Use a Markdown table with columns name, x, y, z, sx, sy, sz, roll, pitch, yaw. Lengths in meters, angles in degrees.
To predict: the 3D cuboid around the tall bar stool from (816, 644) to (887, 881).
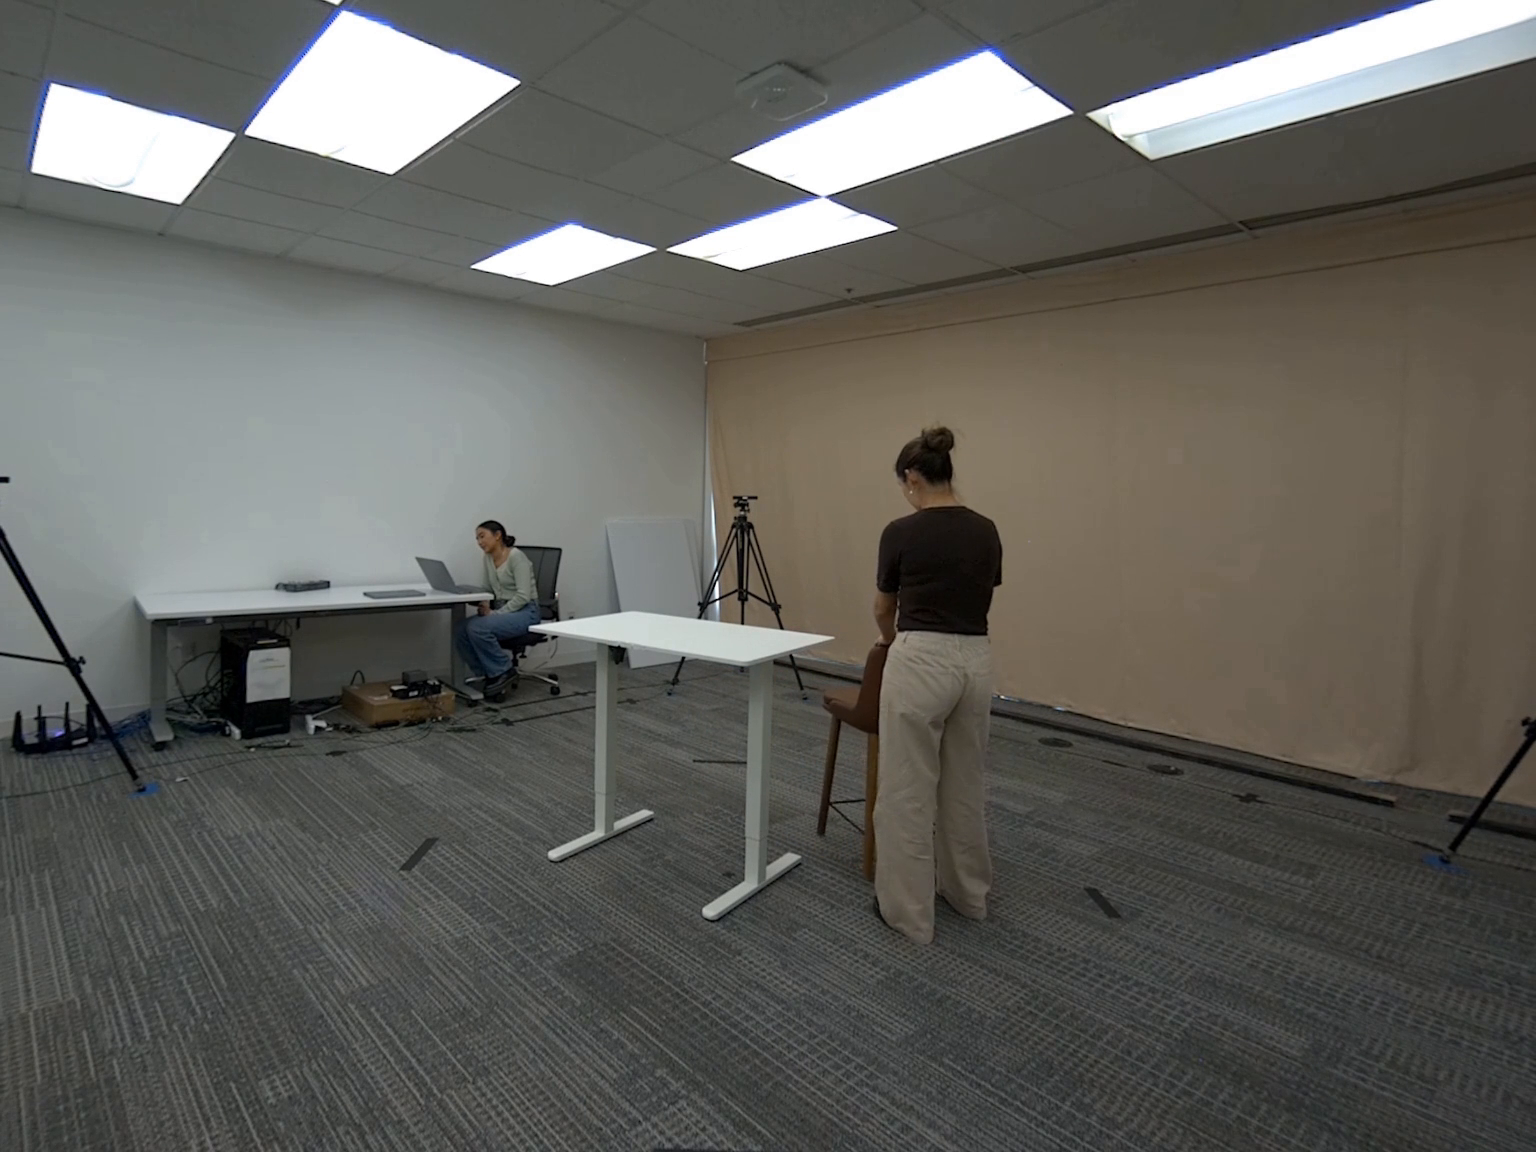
| name | x | y | z | sx | sy | sz | roll | pitch | yaw |
| --- | --- | --- | --- | --- | --- | --- | --- | --- | --- |
| tall bar stool | 0.479 | 0.659 | 3.313 | 0.450 | 0.886 | 0.476 | 1 | 6 | -17 |
